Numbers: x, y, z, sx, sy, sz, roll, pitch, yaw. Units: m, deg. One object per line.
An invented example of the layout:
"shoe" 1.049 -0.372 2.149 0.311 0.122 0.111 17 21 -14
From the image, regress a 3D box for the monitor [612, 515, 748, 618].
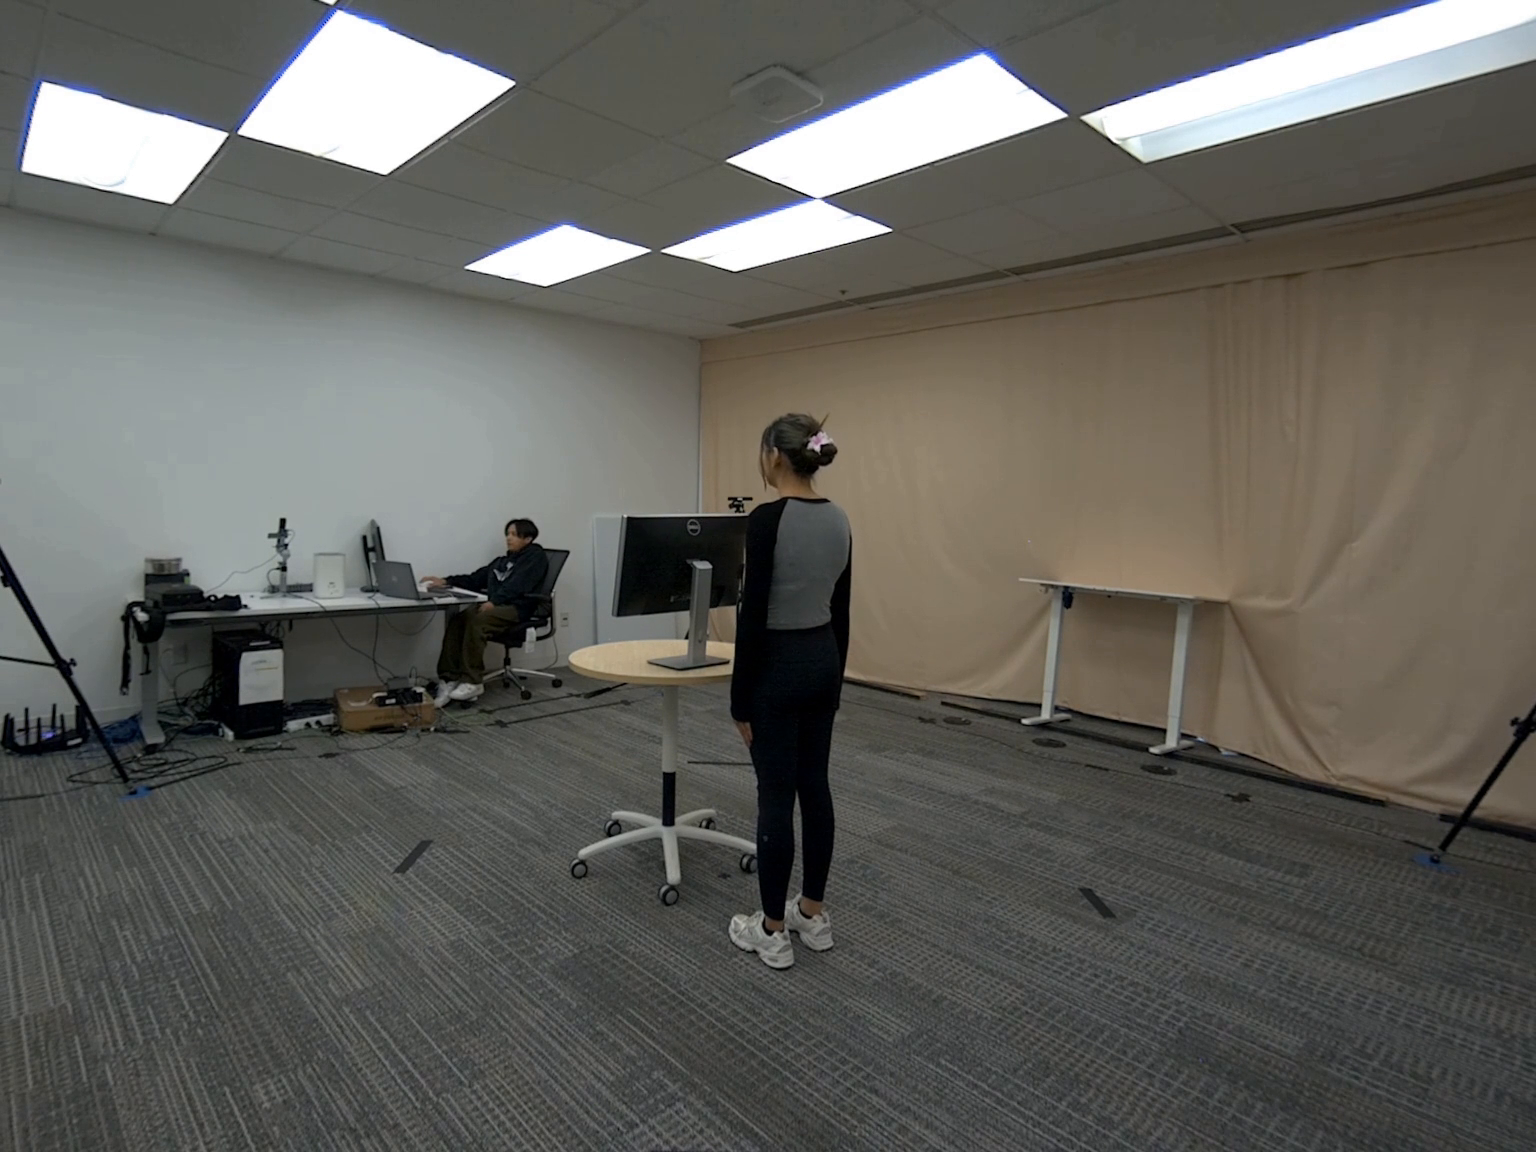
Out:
"monitor" -0.290 0.054 3.042 0.527 0.522 0.191 -3 3 -43
